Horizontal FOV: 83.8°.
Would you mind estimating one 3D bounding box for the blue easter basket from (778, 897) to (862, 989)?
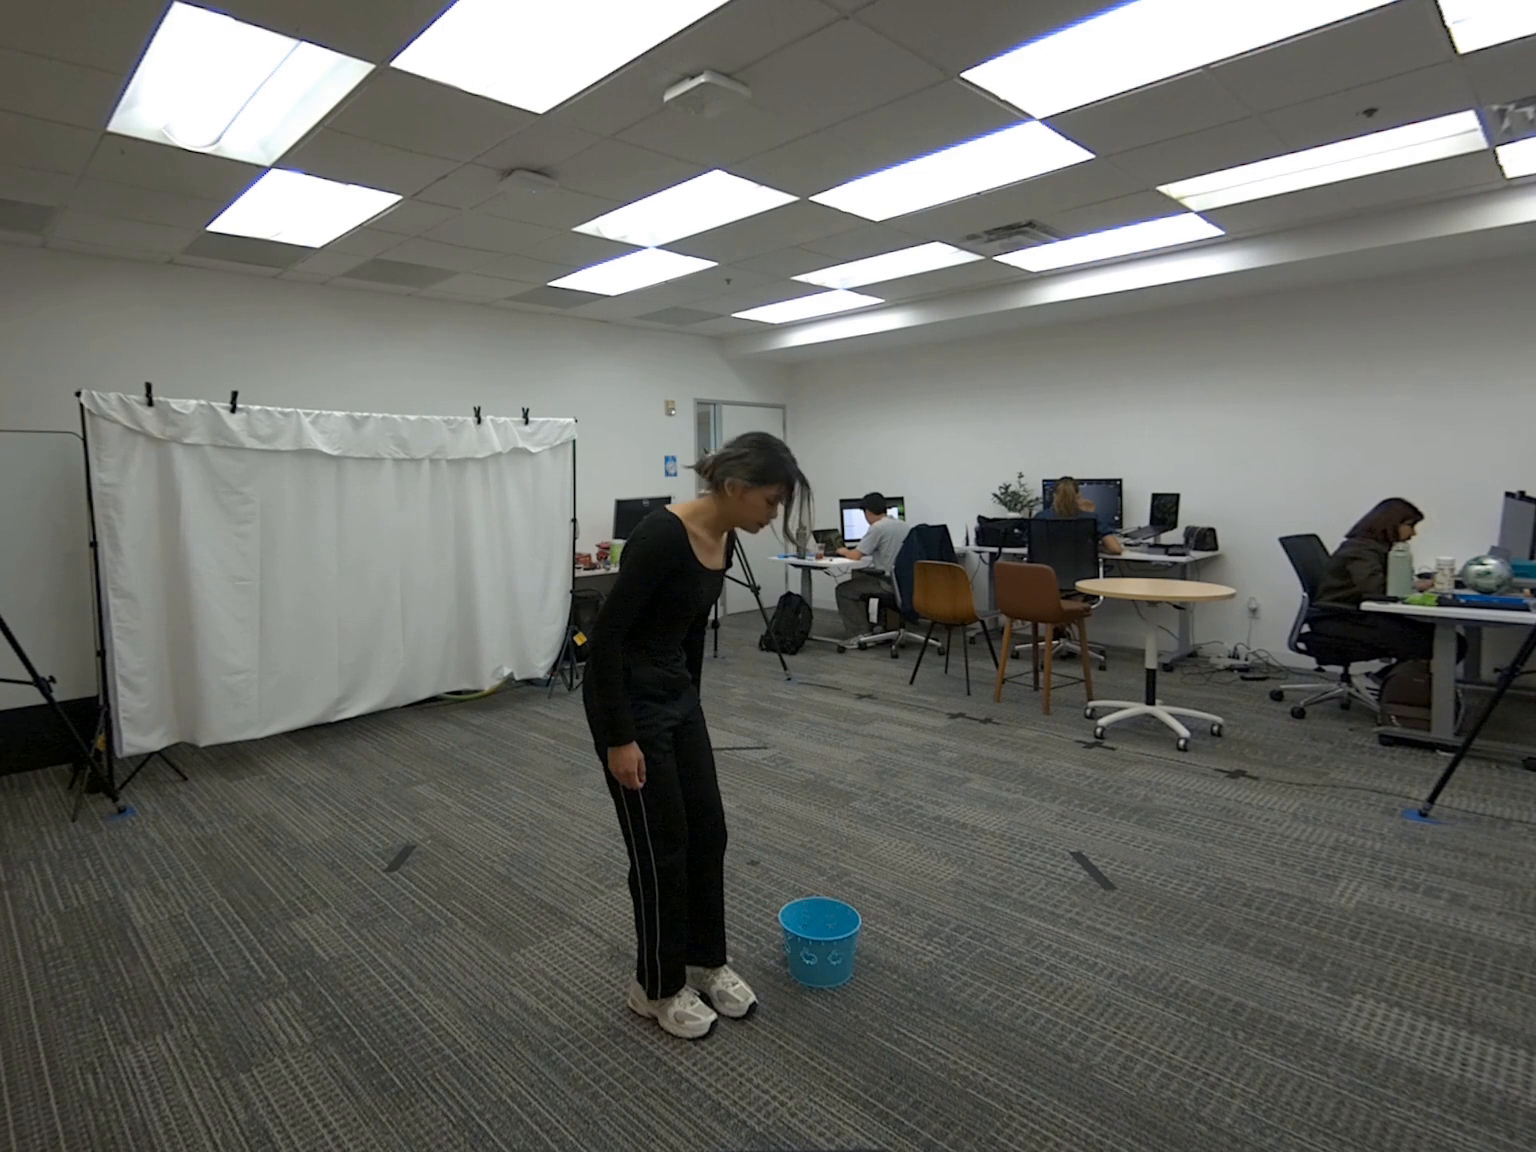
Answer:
[{"bbox_3d":[0.154,1.044,2.427,0.243,0.155,0.245,-1,5,-2],"label":"blue easter basket"}]
